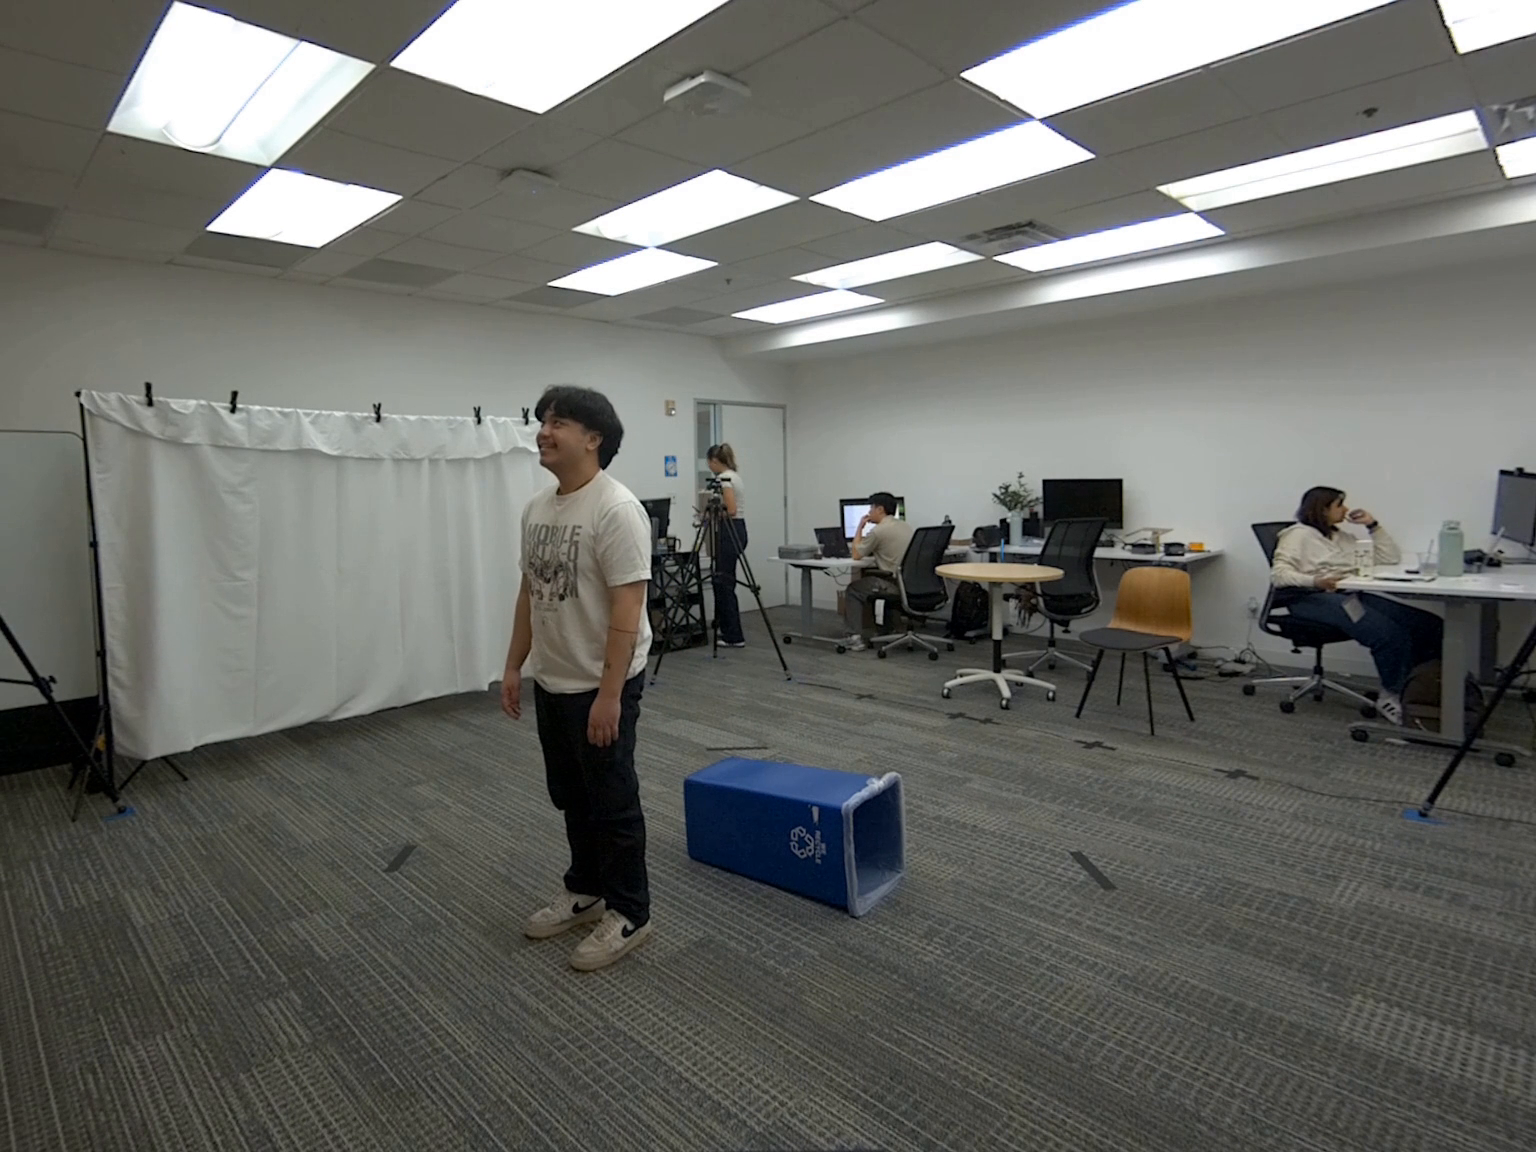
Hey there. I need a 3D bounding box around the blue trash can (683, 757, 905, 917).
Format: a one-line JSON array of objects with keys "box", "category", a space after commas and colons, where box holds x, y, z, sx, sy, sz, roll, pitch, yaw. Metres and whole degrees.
[{"box": [0.079, 0.882, 3.044, 0.733, 0.373, 0.369, -1, 5, 37], "category": "blue trash can"}]
